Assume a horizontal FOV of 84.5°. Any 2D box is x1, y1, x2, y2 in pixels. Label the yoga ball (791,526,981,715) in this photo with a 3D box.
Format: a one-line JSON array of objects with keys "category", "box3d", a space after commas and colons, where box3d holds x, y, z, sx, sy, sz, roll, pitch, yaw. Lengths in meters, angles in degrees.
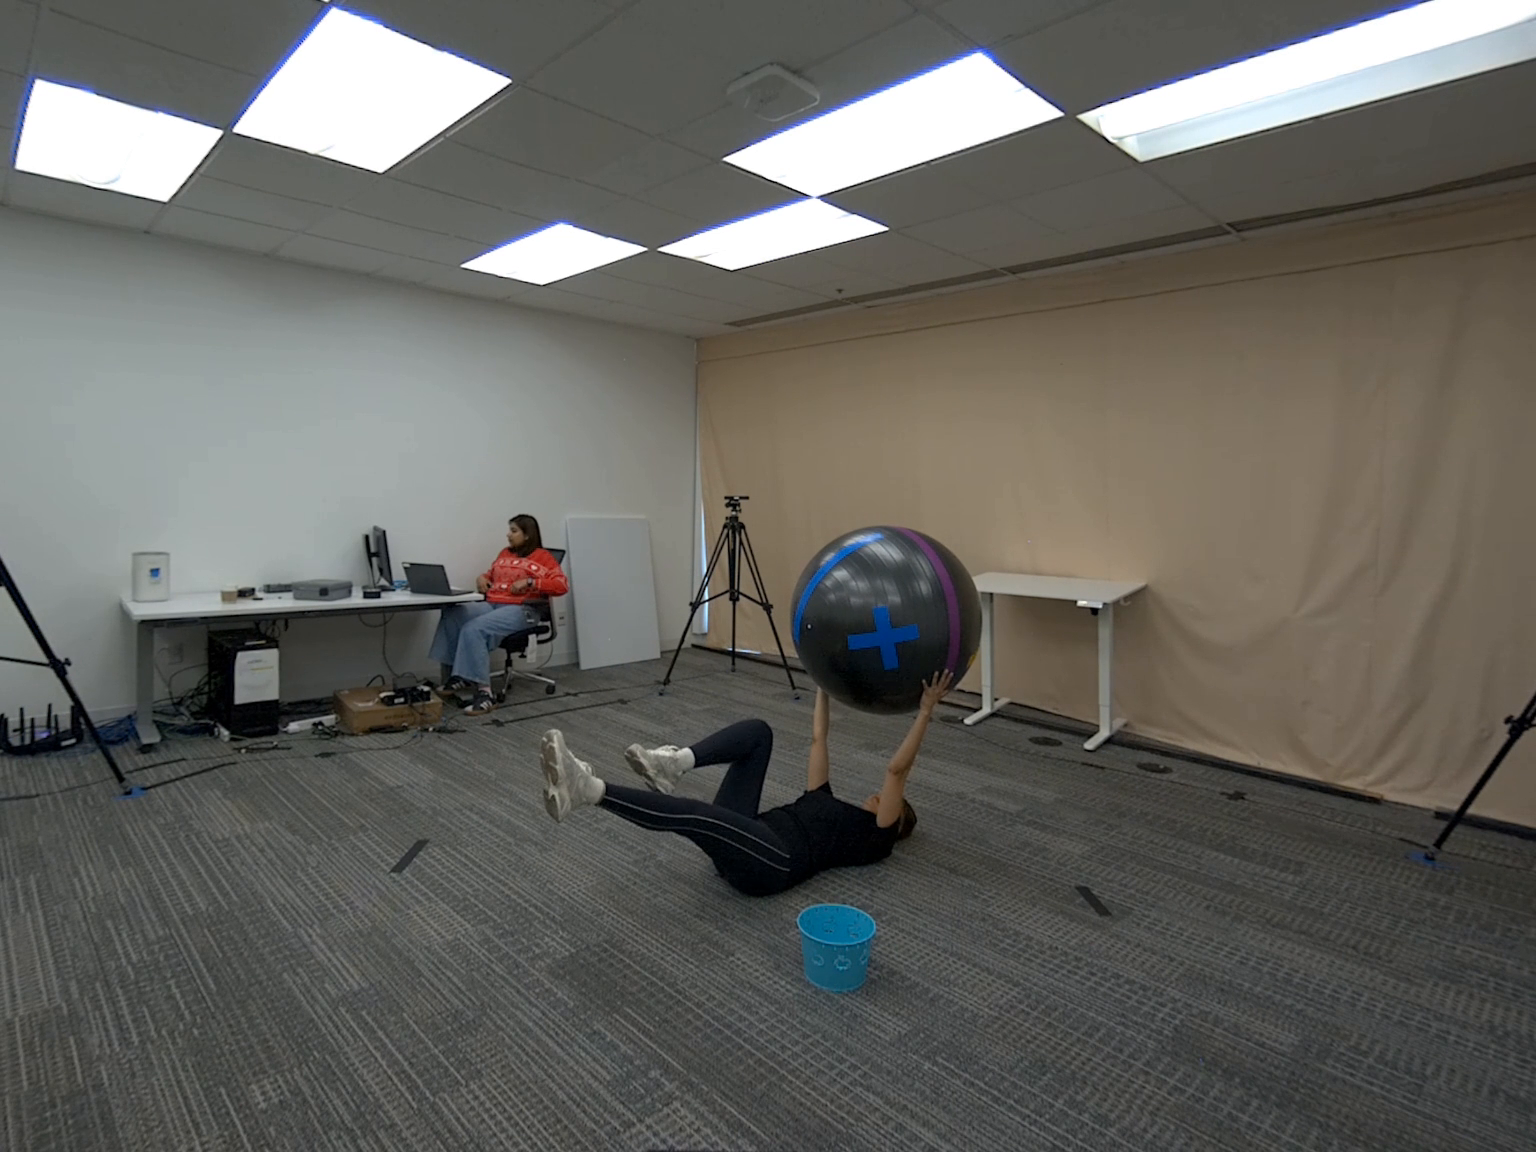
[{"category": "yoga ball", "box3d": [0.464, 0.178, 3.385, 0.757, 0.754, 0.762, 0, 7, -1]}]
